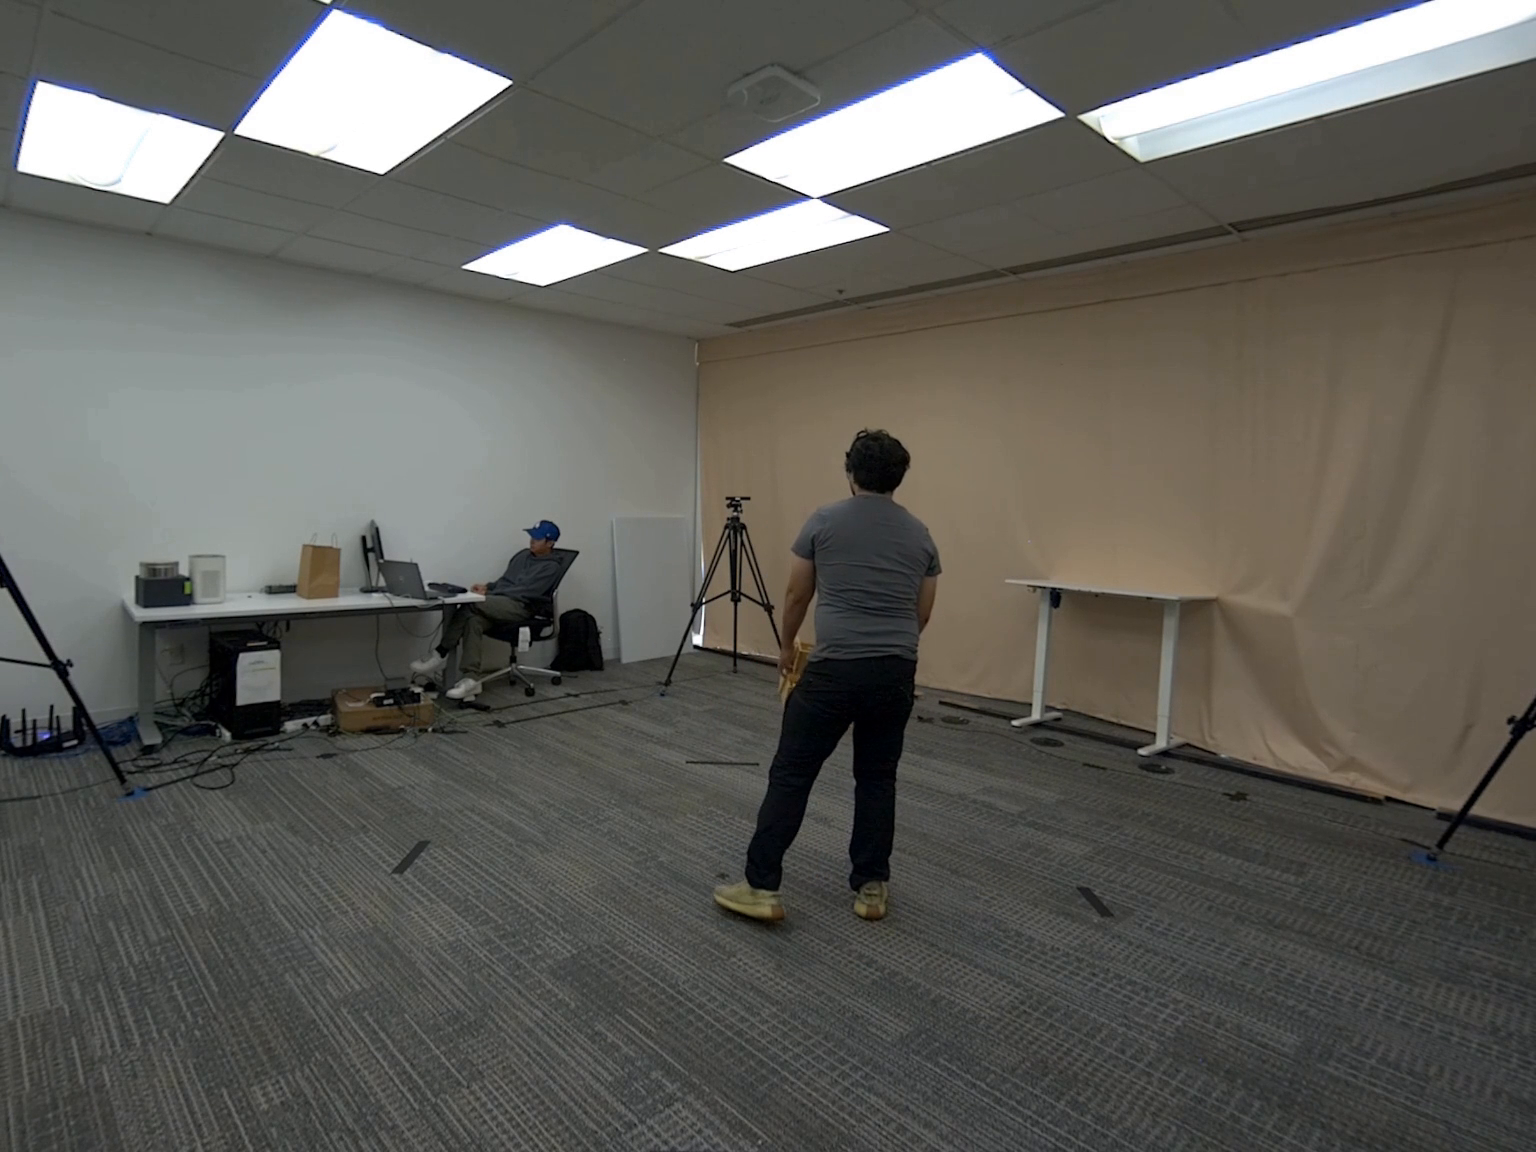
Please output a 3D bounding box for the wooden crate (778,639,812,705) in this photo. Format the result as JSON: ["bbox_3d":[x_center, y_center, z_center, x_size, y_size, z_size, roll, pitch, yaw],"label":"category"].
[{"bbox_3d":[0.229,0.381,3.212,0.323,0.271,0.305,12,15,-4],"label":"wooden crate"}]
